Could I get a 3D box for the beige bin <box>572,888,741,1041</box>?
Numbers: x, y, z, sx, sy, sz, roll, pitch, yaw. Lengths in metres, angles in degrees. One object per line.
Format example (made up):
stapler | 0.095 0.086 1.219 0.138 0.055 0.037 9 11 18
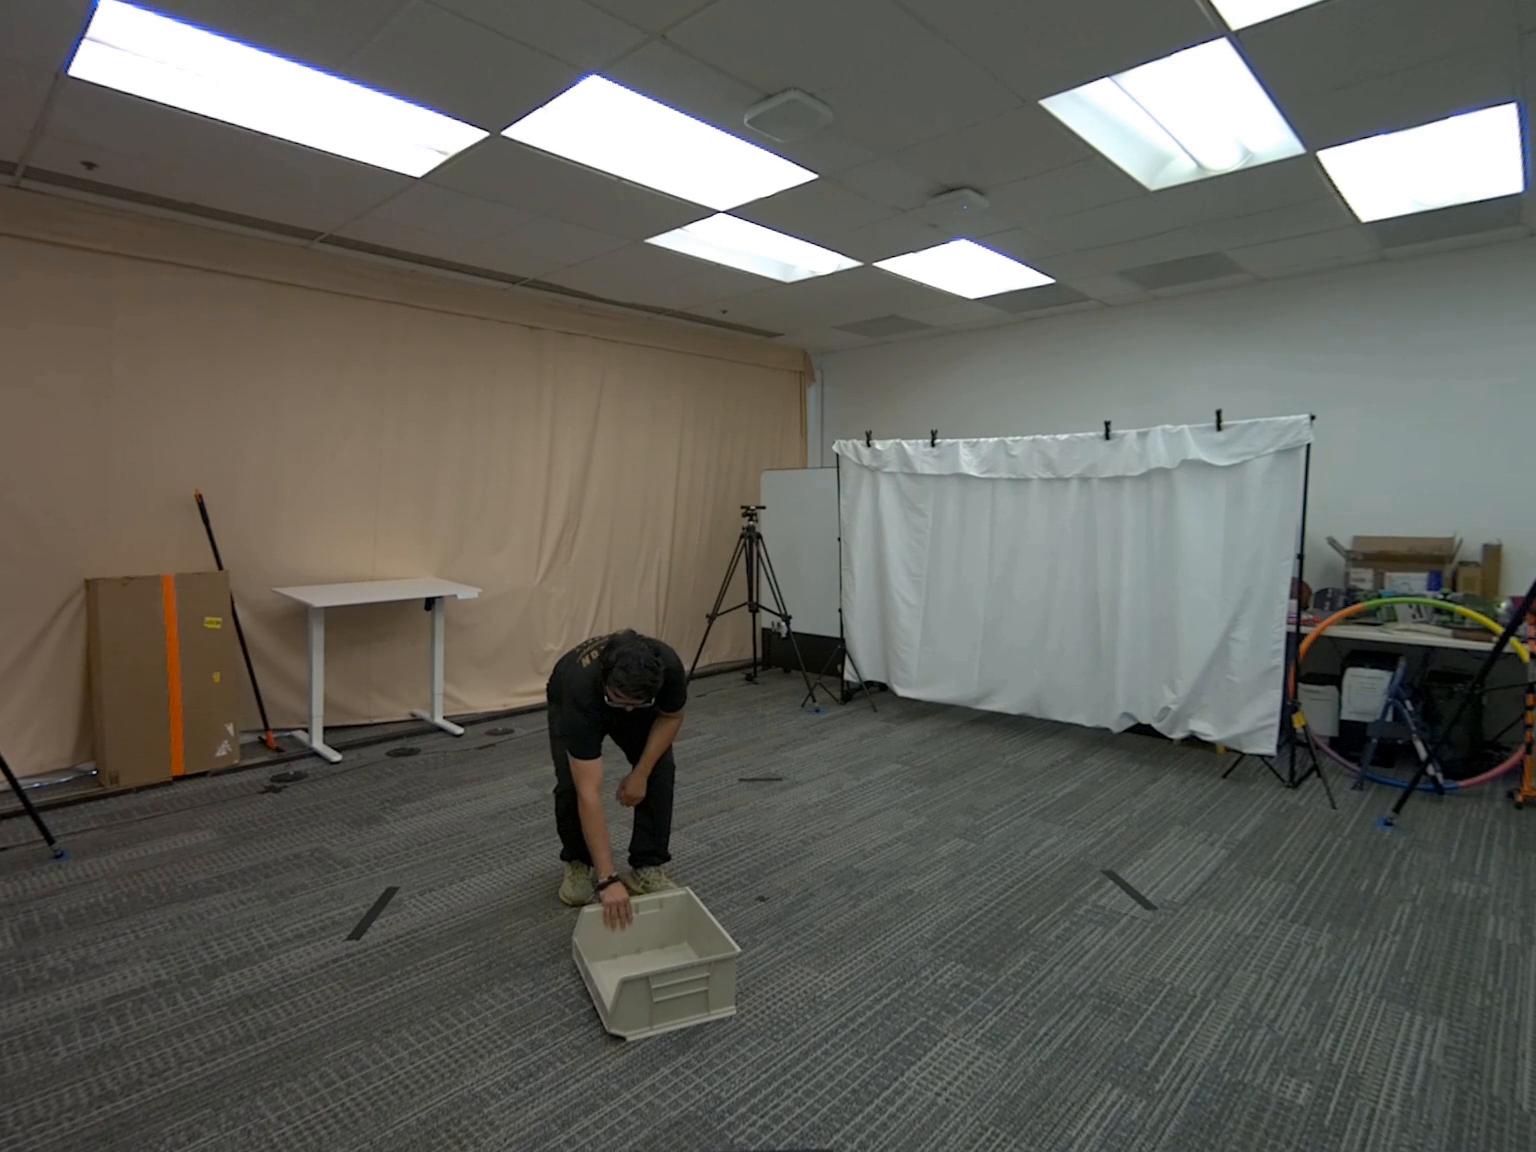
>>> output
beige bin | -0.330 1.101 2.418 0.368 0.189 0.433 0 3 -24
